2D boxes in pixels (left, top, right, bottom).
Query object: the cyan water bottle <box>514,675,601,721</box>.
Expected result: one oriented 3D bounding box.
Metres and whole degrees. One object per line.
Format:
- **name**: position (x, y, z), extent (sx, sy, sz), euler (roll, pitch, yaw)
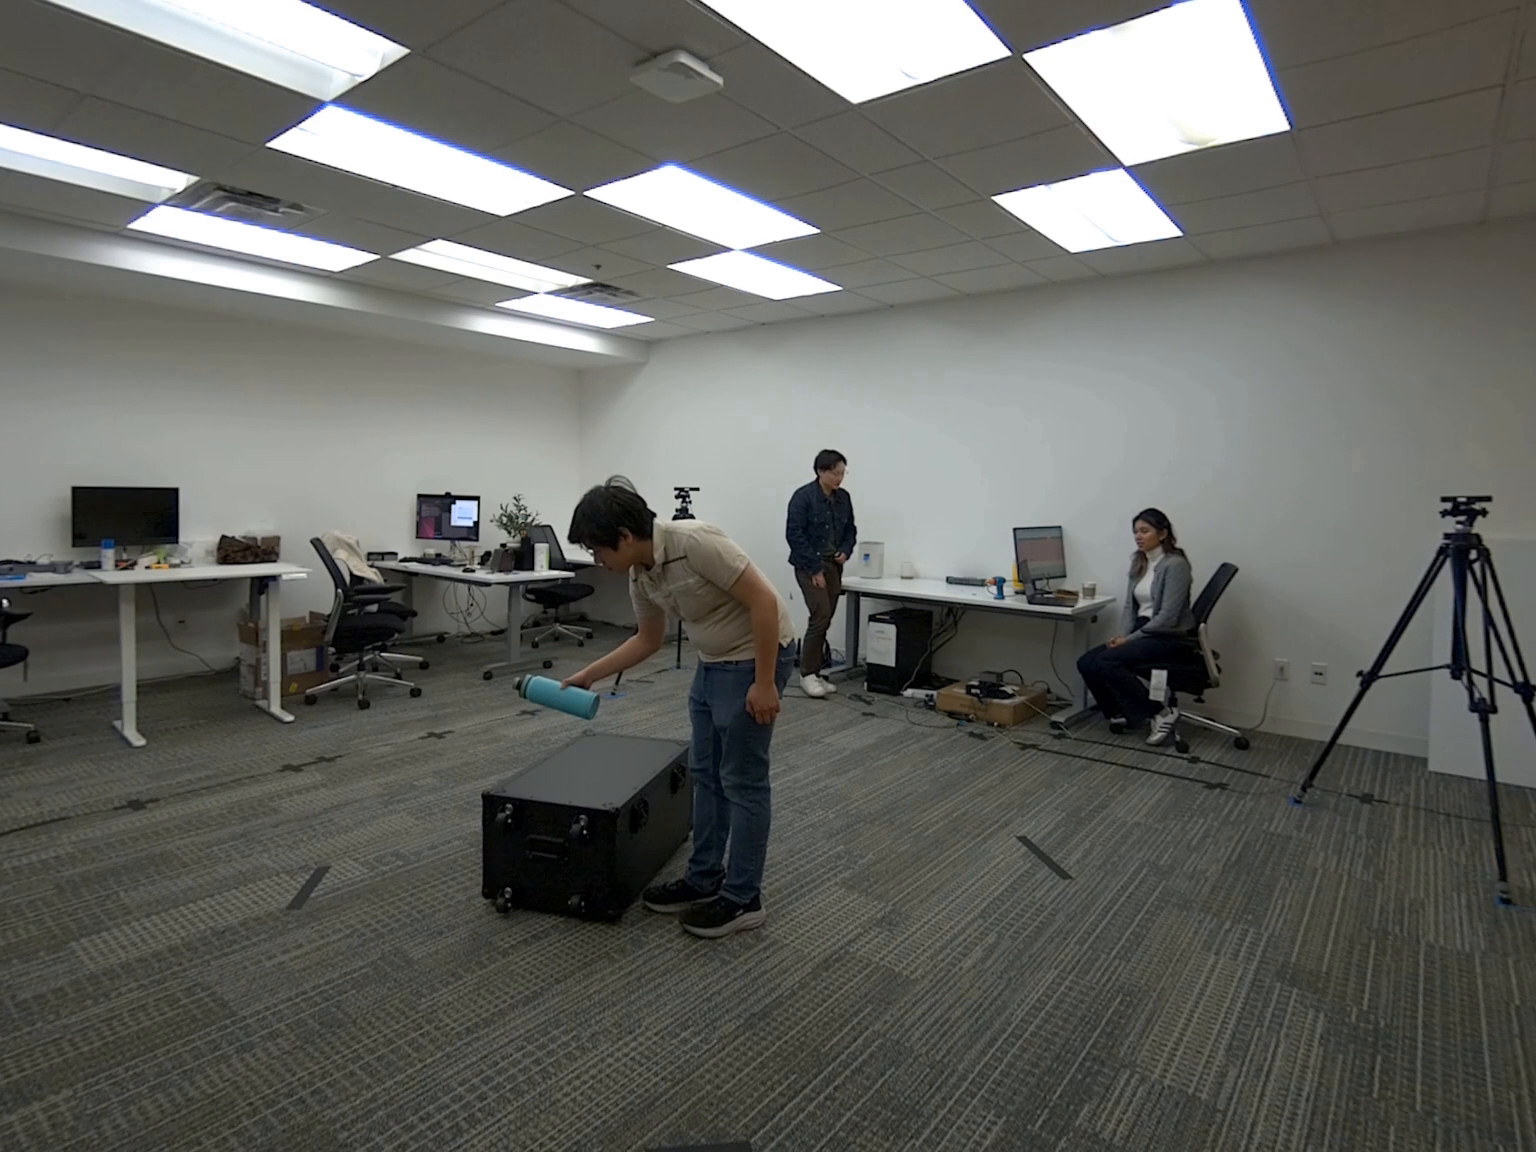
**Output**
- **cyan water bottle**: position (-0.712, 0.392, 2.796), extent (0.287, 0.092, 0.091), euler (14, 6, 9)
